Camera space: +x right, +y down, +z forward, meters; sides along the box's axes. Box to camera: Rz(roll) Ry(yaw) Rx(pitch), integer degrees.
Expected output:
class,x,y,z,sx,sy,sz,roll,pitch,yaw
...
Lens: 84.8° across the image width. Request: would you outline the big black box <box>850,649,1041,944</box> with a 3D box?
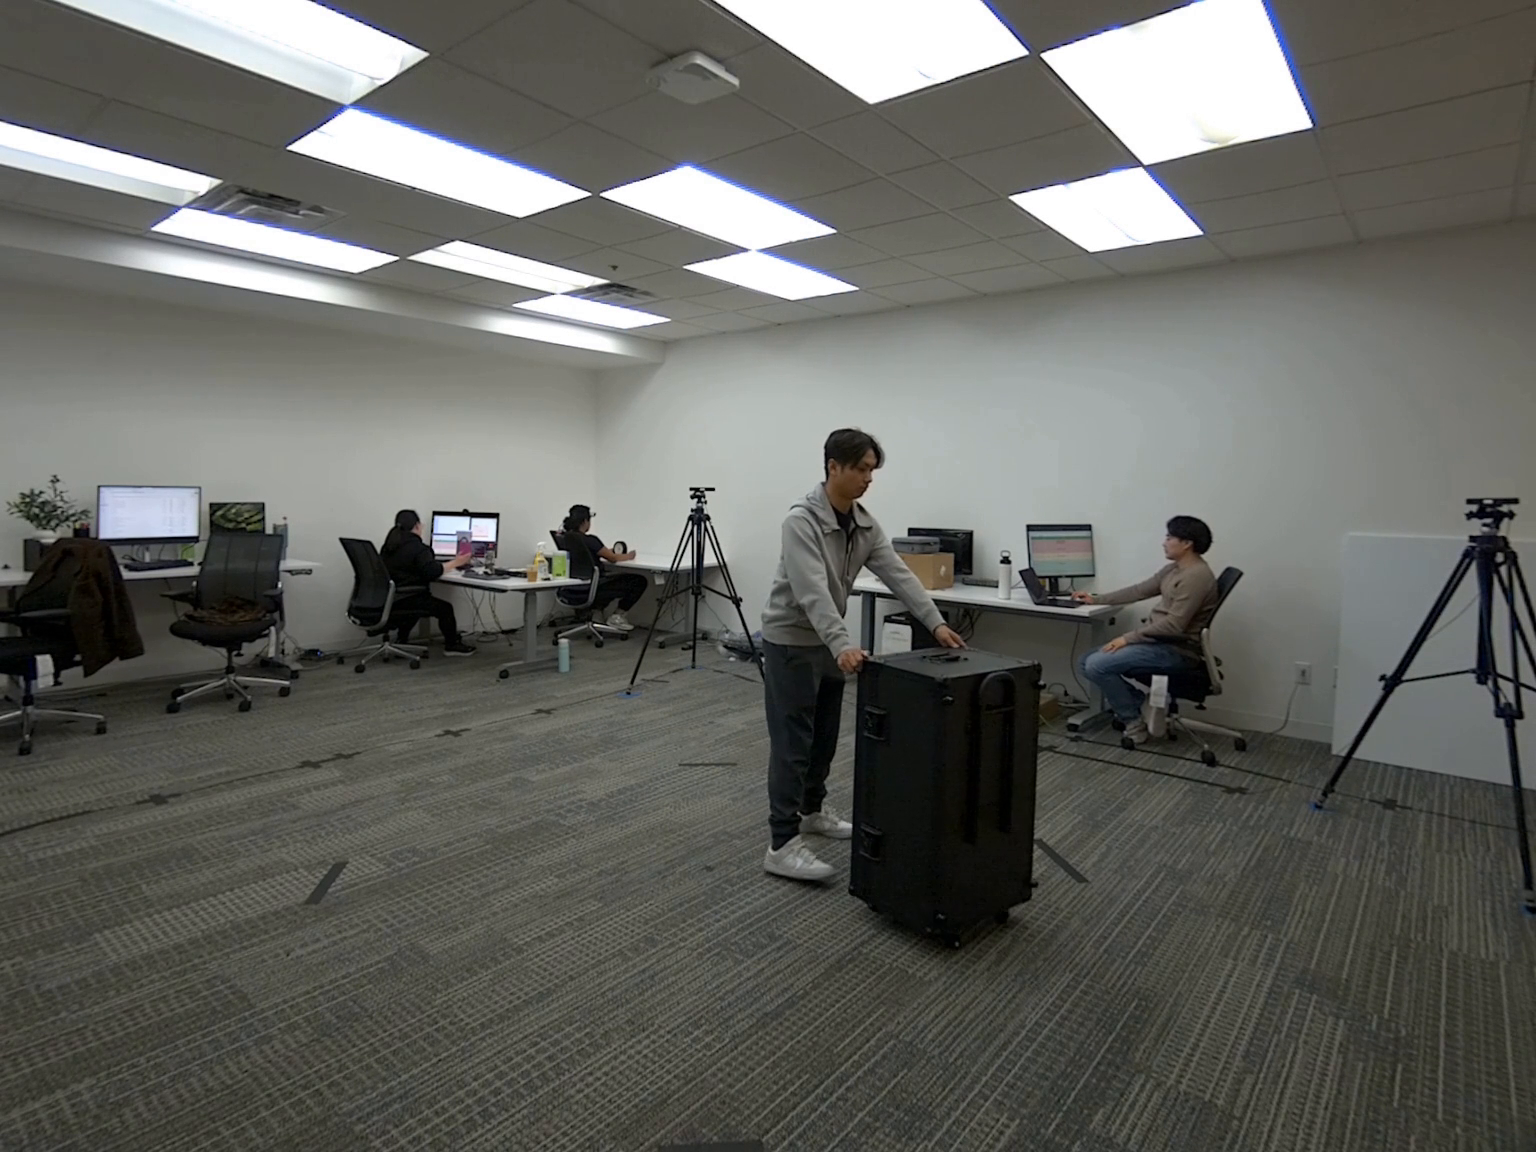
class,x,y,z,sx,sy,sz,roll,pitch,yaw
big black box,0.582,0.697,2.759,0.506,0.858,0.410,-1,5,-38
